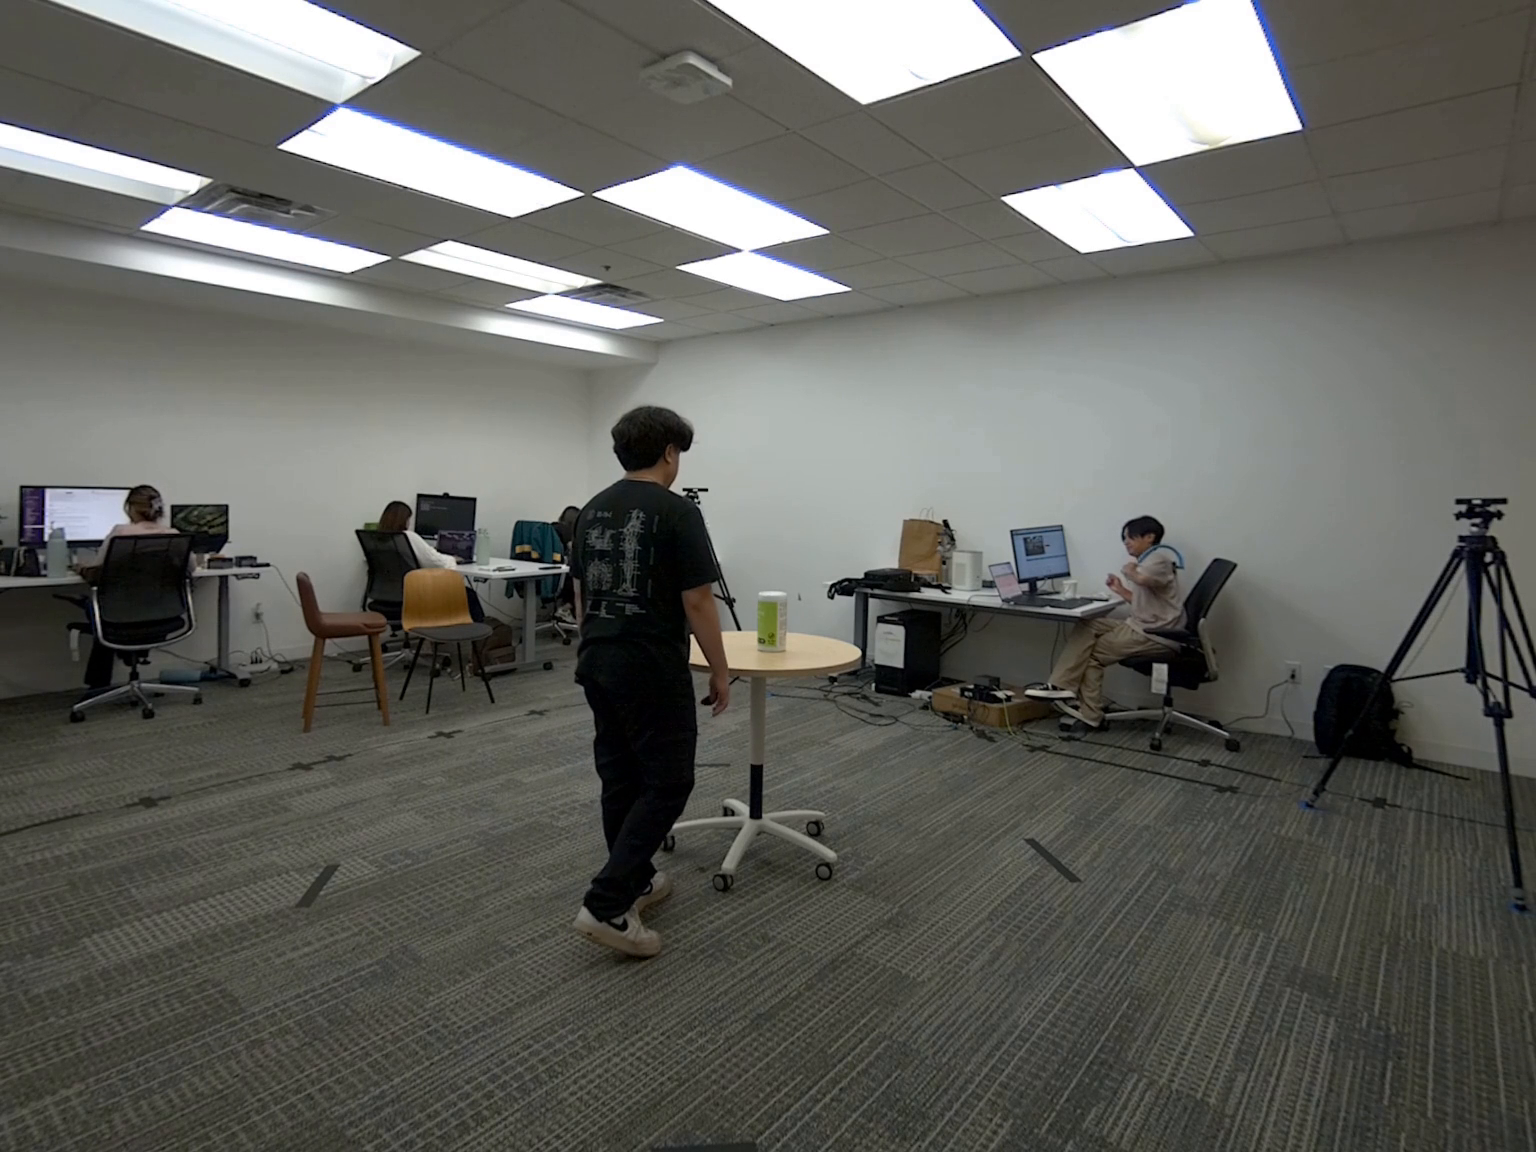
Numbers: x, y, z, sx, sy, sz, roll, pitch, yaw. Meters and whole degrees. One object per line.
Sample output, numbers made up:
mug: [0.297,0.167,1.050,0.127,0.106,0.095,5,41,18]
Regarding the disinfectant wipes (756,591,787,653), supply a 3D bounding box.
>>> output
disinfectant wipes: [0.008,0.165,3.188,0.118,0.217,0.118,0,4,-2]
